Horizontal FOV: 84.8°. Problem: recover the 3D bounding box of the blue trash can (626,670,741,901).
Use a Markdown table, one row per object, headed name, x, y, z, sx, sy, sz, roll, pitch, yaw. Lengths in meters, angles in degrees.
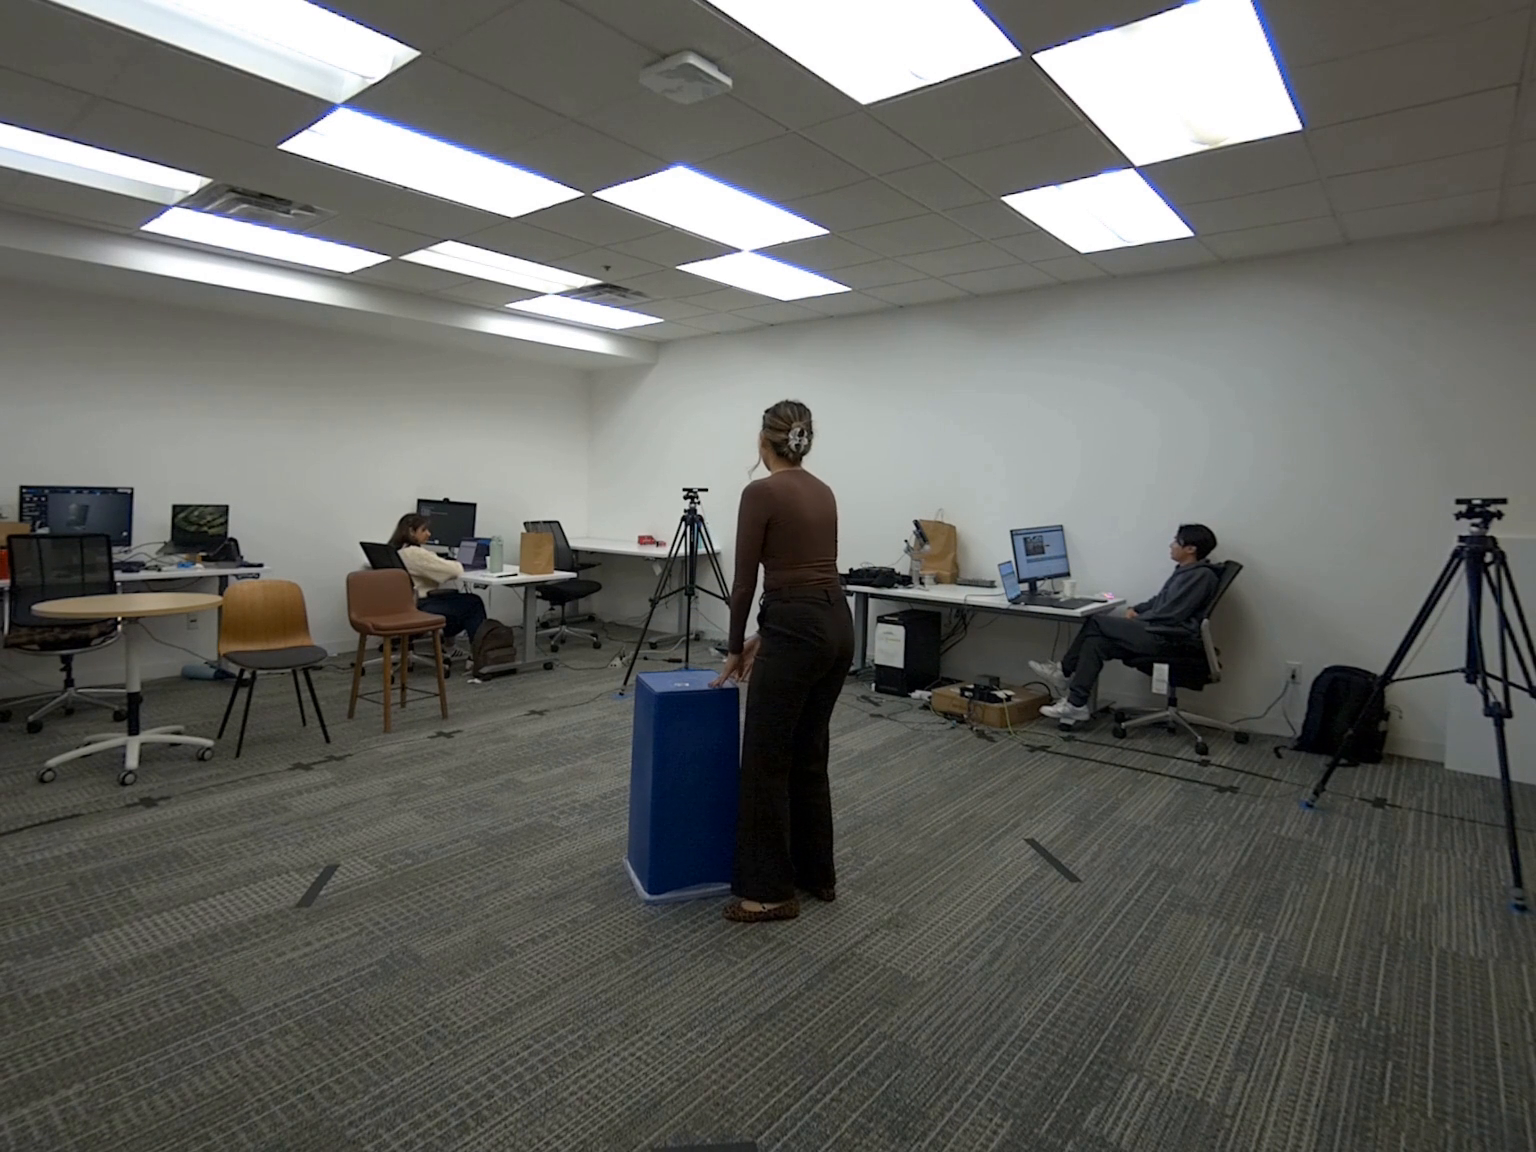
| name | x | y | z | sx | sy | sz | roll | pitch | yaw |
| --- | --- | --- | --- | --- | --- | --- | --- | --- | --- |
| blue trash can | -0.308 | 0.722 | 3.027 | 0.370 | 0.711 | 0.383 | 0 | 5 | -22 |
